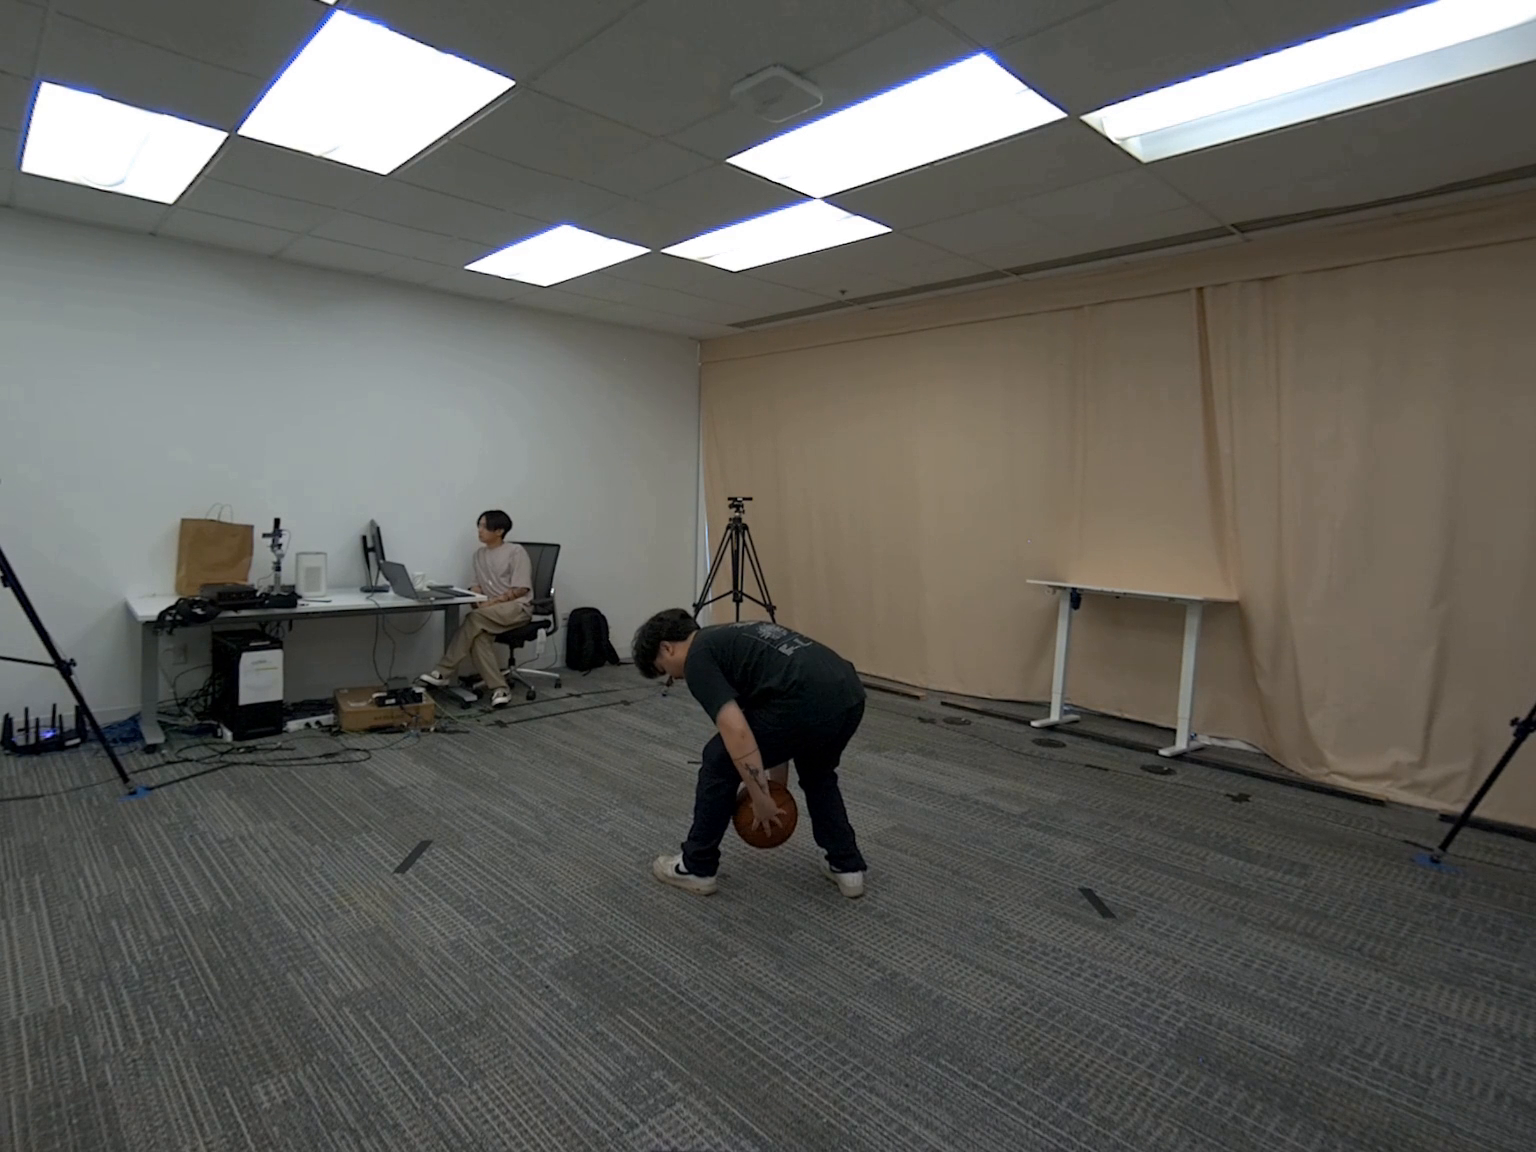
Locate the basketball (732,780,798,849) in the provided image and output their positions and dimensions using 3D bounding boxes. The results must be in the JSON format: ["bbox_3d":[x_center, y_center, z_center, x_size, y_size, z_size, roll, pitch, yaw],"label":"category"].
[{"bbox_3d":[-0.020,0.851,3.031,0.236,0.235,0.237,1,4,-1],"label":"basketball"}]
